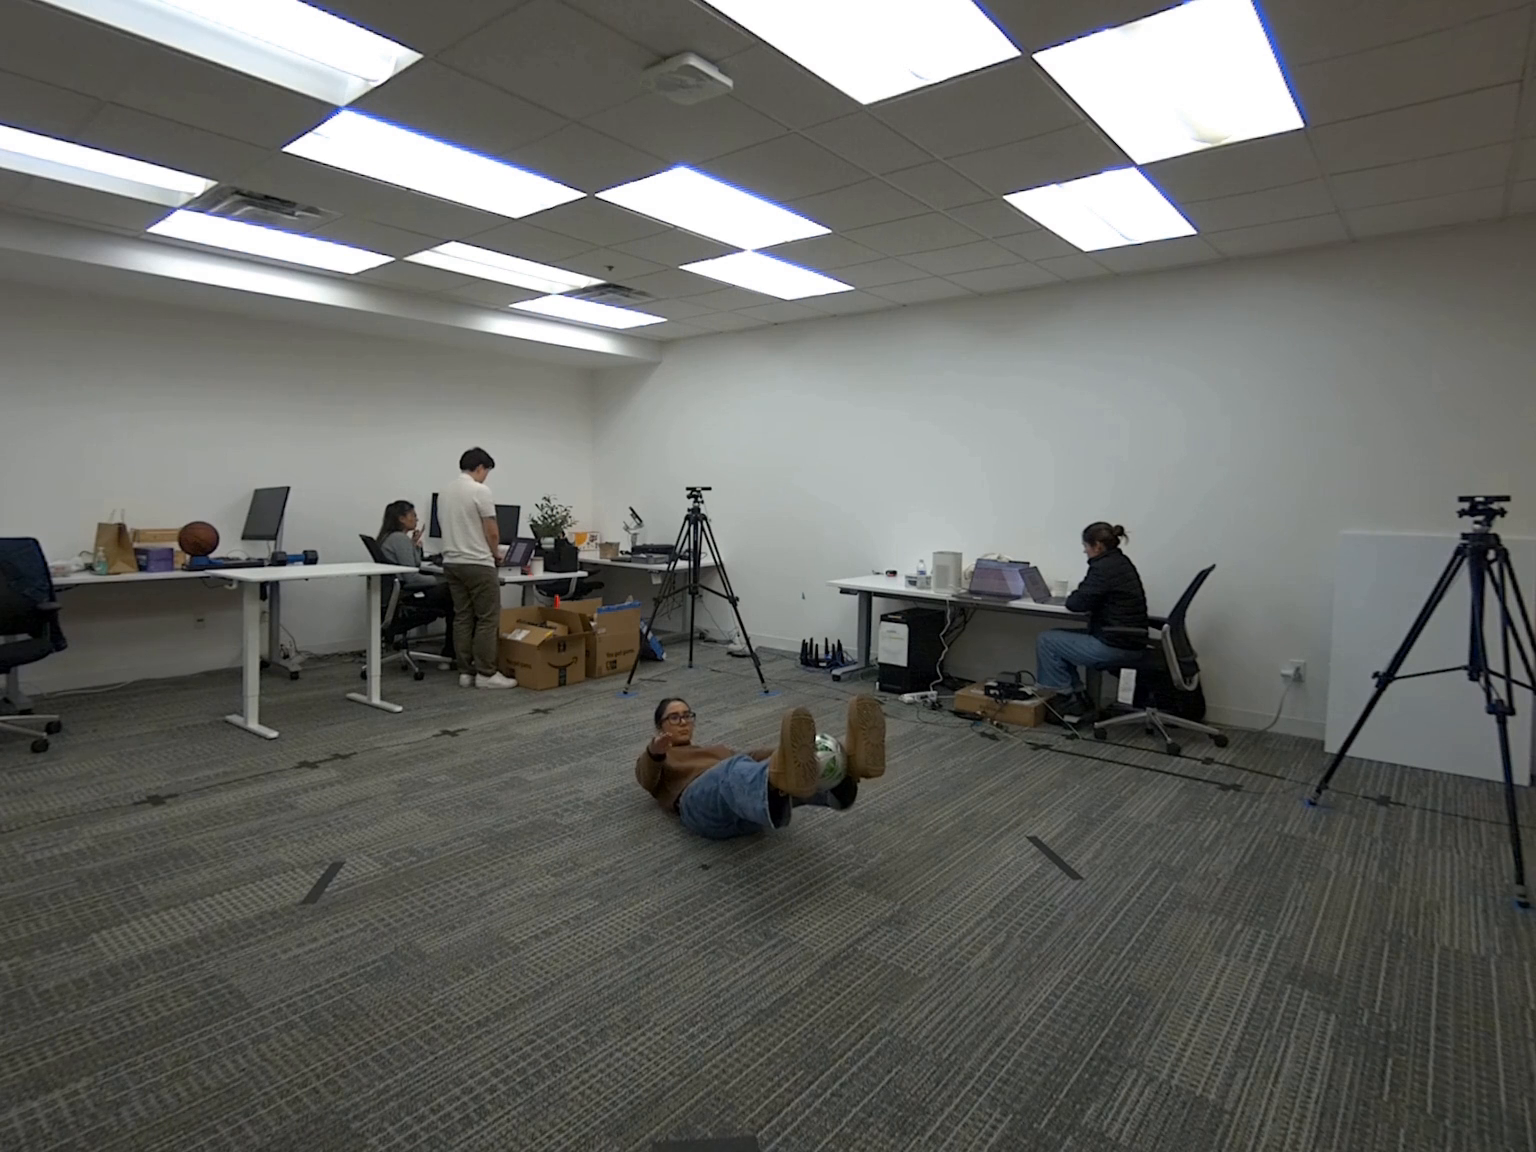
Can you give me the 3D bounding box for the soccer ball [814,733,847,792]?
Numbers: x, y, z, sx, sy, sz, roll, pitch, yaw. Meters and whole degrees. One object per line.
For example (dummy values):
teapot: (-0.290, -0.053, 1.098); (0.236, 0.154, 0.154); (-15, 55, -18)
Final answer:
soccer ball: (0.169, 0.624, 2.853); (0.187, 0.187, 0.188); (1, 4, -2)
